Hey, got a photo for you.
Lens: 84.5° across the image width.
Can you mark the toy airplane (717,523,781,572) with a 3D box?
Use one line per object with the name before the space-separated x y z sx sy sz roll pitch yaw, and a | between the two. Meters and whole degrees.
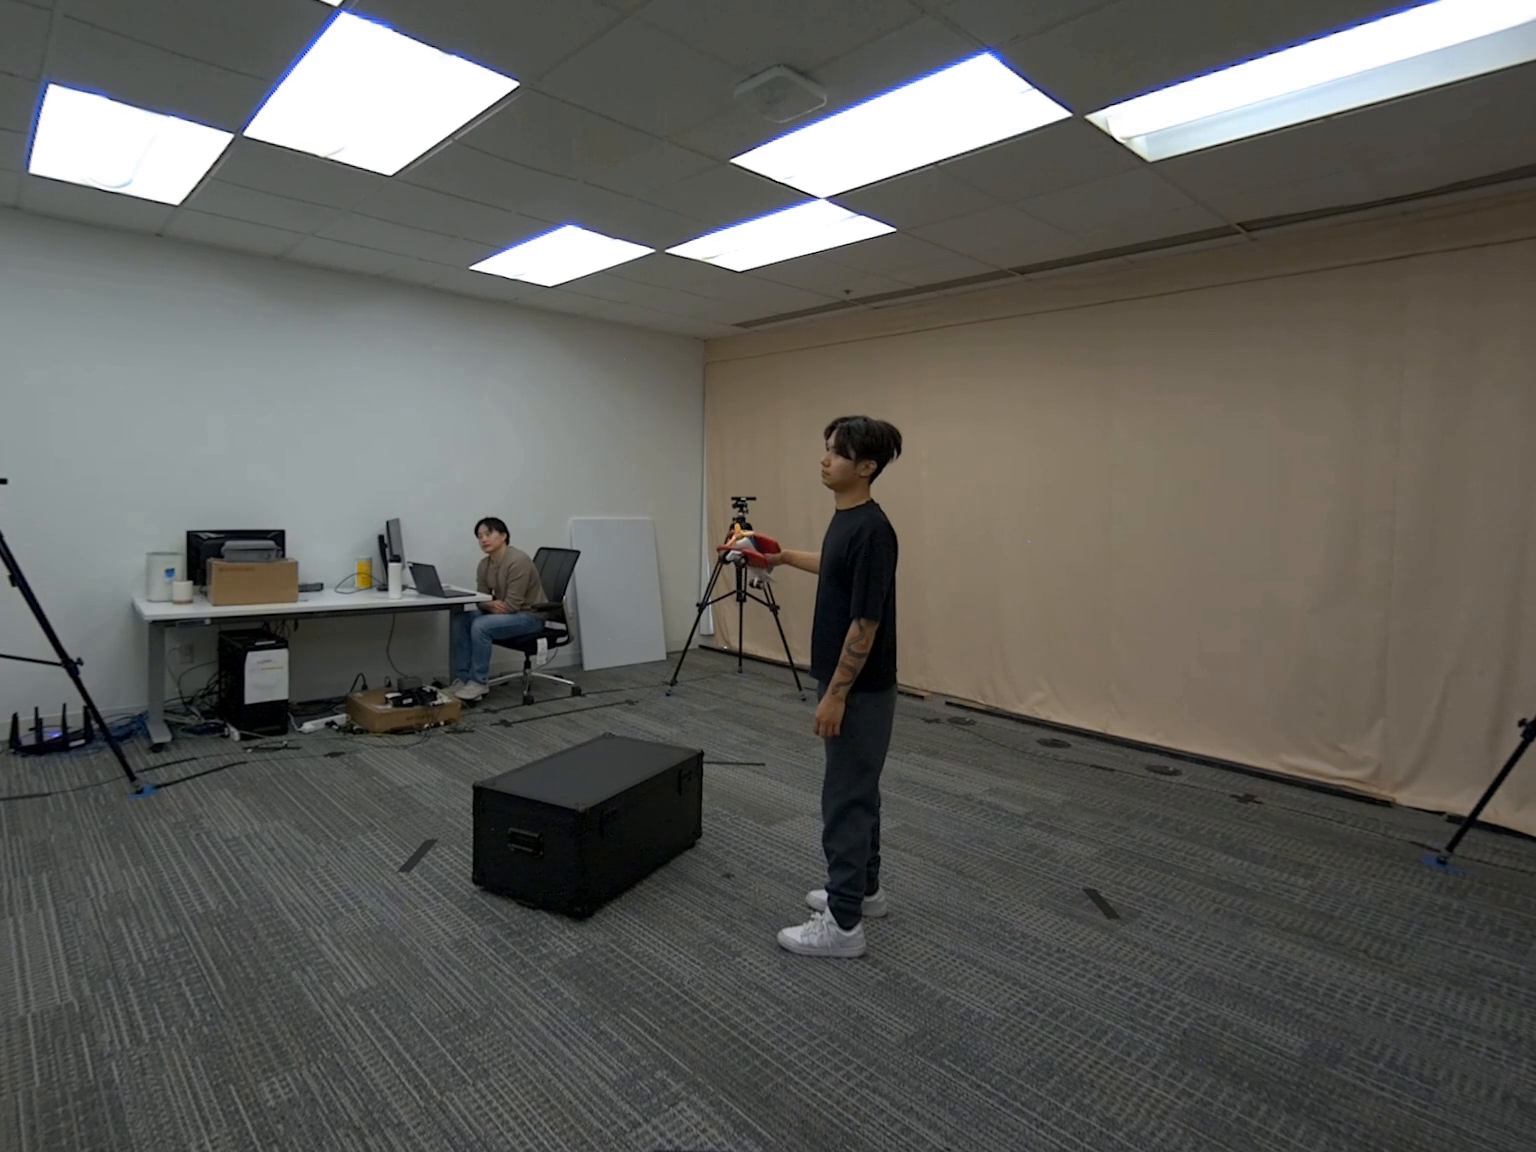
toy airplane | -0.086 -0.071 3.197 0.255 0.157 0.254 24 -15 16
